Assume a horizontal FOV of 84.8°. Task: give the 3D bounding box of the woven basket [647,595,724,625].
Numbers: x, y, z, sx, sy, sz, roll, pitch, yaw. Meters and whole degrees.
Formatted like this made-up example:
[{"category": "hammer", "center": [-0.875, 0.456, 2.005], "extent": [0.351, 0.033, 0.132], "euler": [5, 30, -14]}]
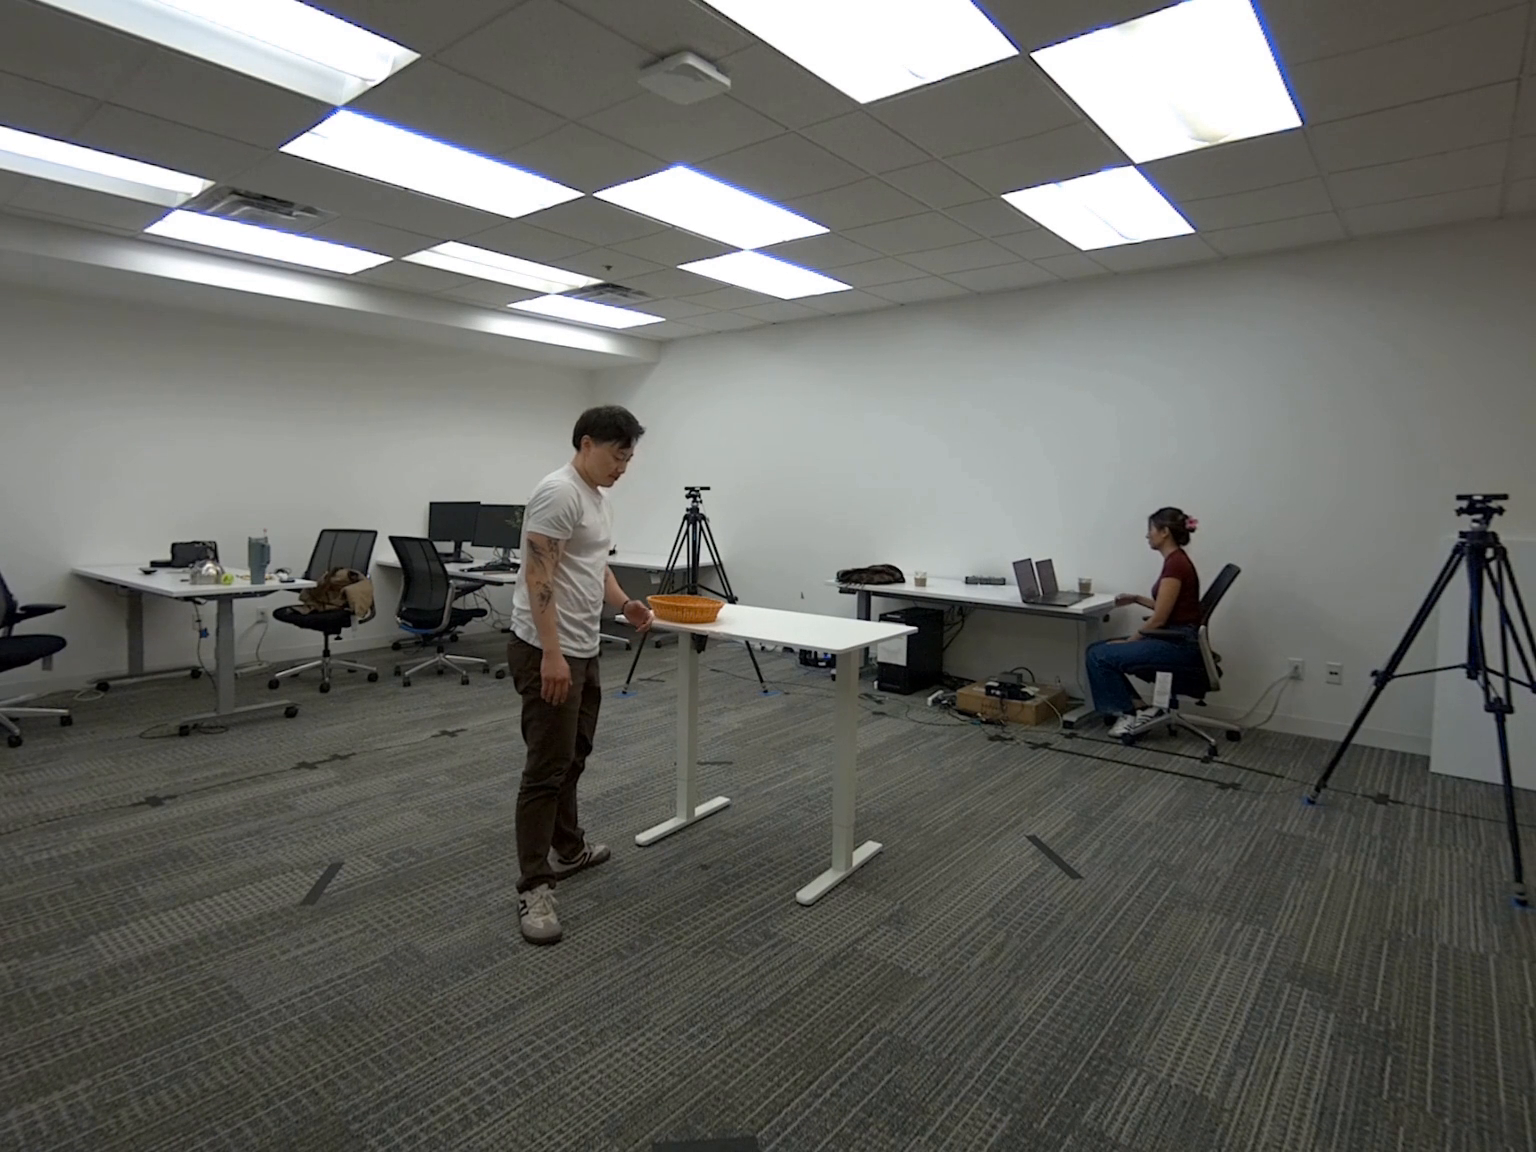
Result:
[{"category": "woven basket", "center": [-0.322, 0.128, 3.315], "extent": [0.245, 0.073, 0.362], "euler": [-3, 7, -37]}]
